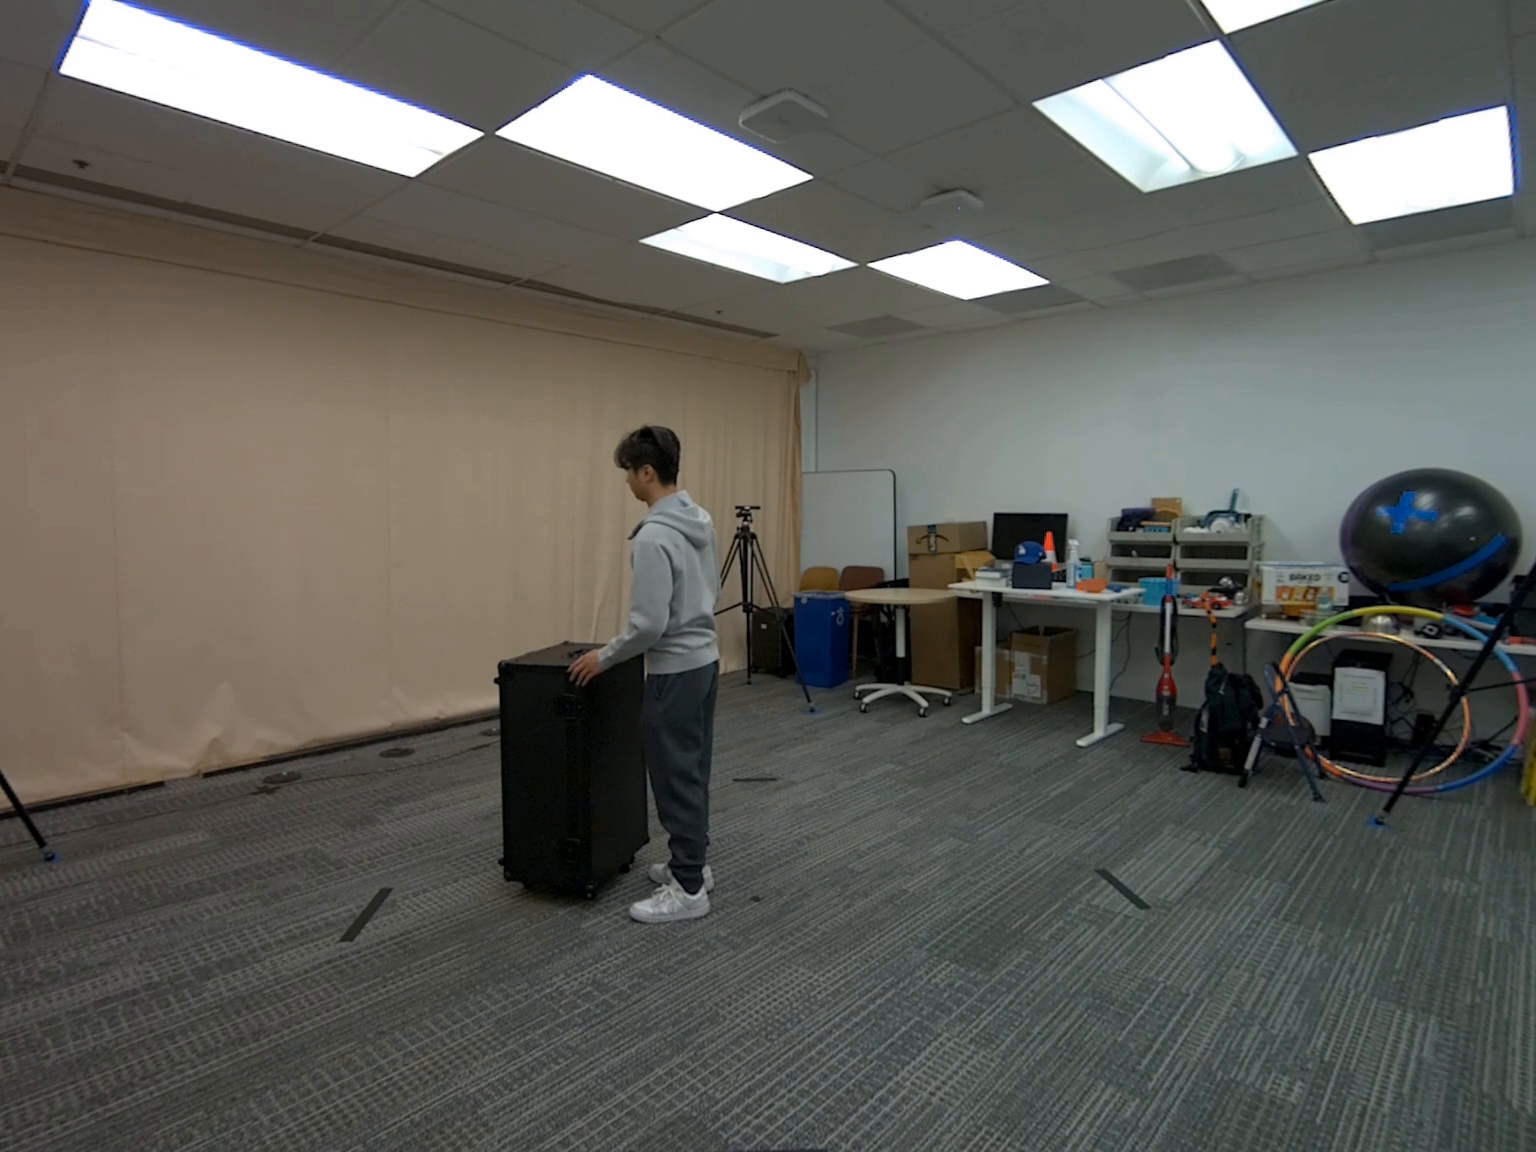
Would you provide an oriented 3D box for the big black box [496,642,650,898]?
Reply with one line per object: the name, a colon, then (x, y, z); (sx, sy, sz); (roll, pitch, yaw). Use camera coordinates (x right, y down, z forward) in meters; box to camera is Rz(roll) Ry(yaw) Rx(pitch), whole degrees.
big black box: (-0.722, 0.709, 3.148); (0.404, 0.860, 0.512); (0, 2, 18)
